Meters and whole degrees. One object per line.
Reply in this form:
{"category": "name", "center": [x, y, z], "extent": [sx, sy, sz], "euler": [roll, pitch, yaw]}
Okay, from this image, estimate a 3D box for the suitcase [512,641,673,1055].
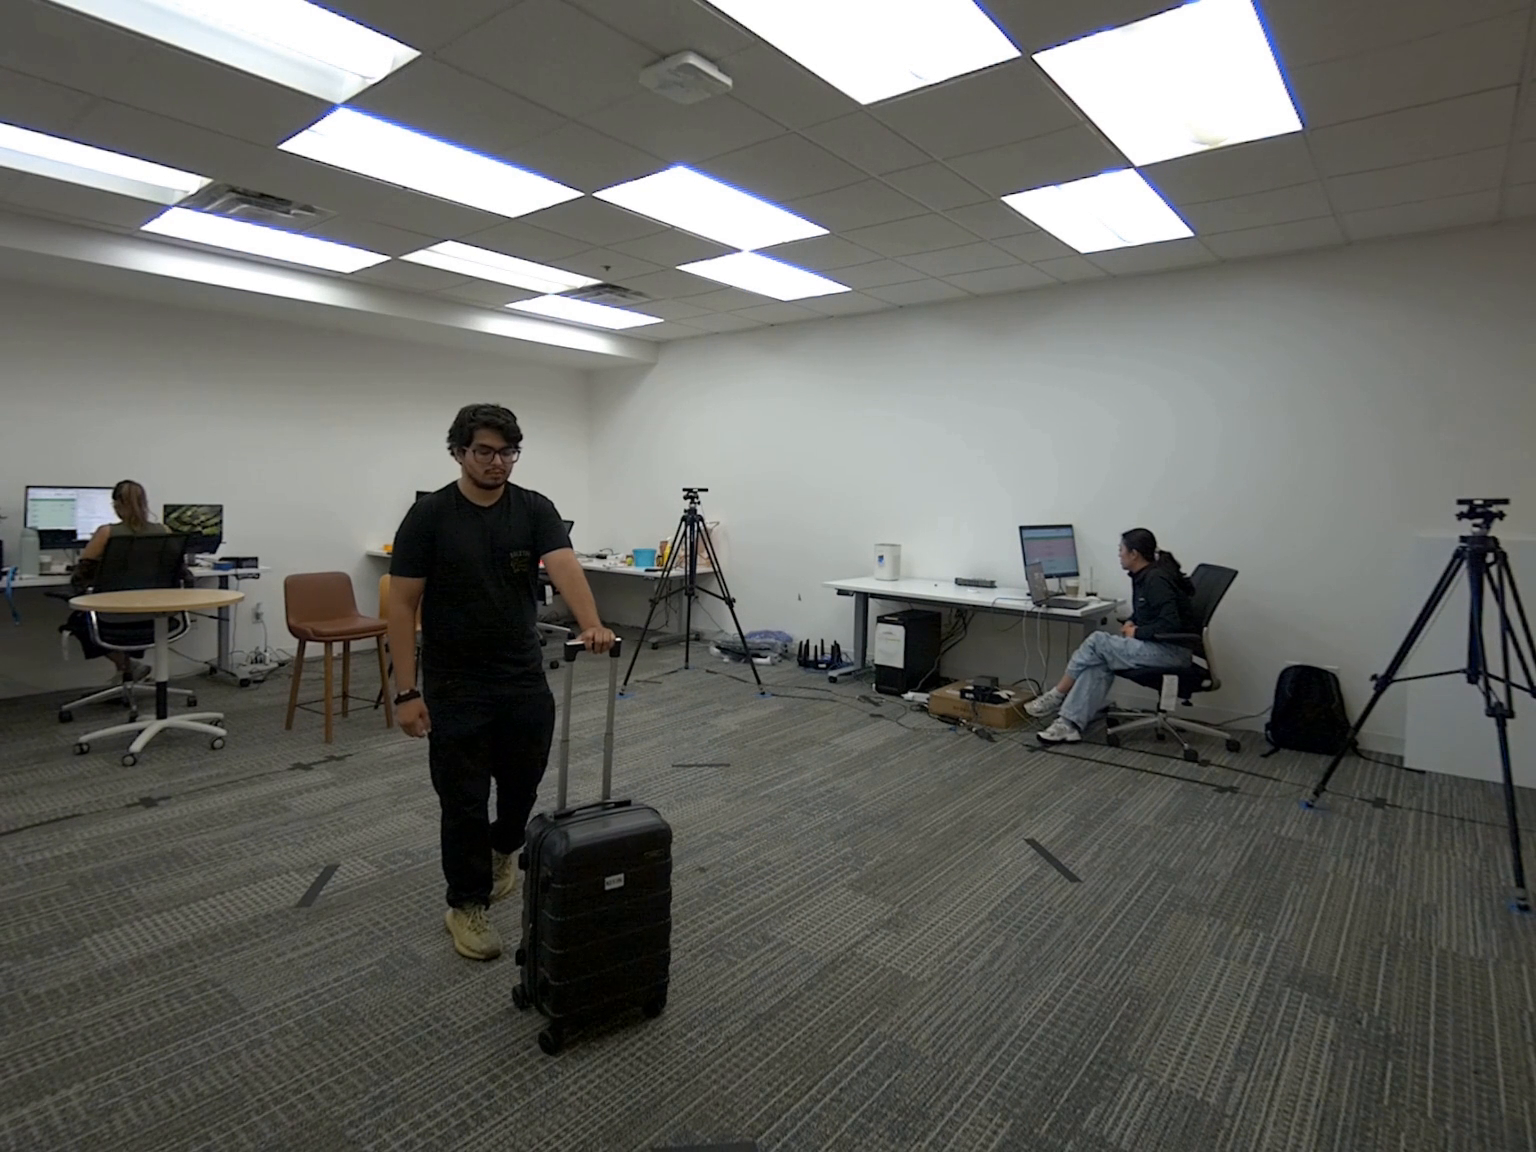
{"category": "suitcase", "center": [-0.441, 0.679, 2.212], "extent": [0.373, 0.973, 0.266], "euler": [0, 7, -32]}
